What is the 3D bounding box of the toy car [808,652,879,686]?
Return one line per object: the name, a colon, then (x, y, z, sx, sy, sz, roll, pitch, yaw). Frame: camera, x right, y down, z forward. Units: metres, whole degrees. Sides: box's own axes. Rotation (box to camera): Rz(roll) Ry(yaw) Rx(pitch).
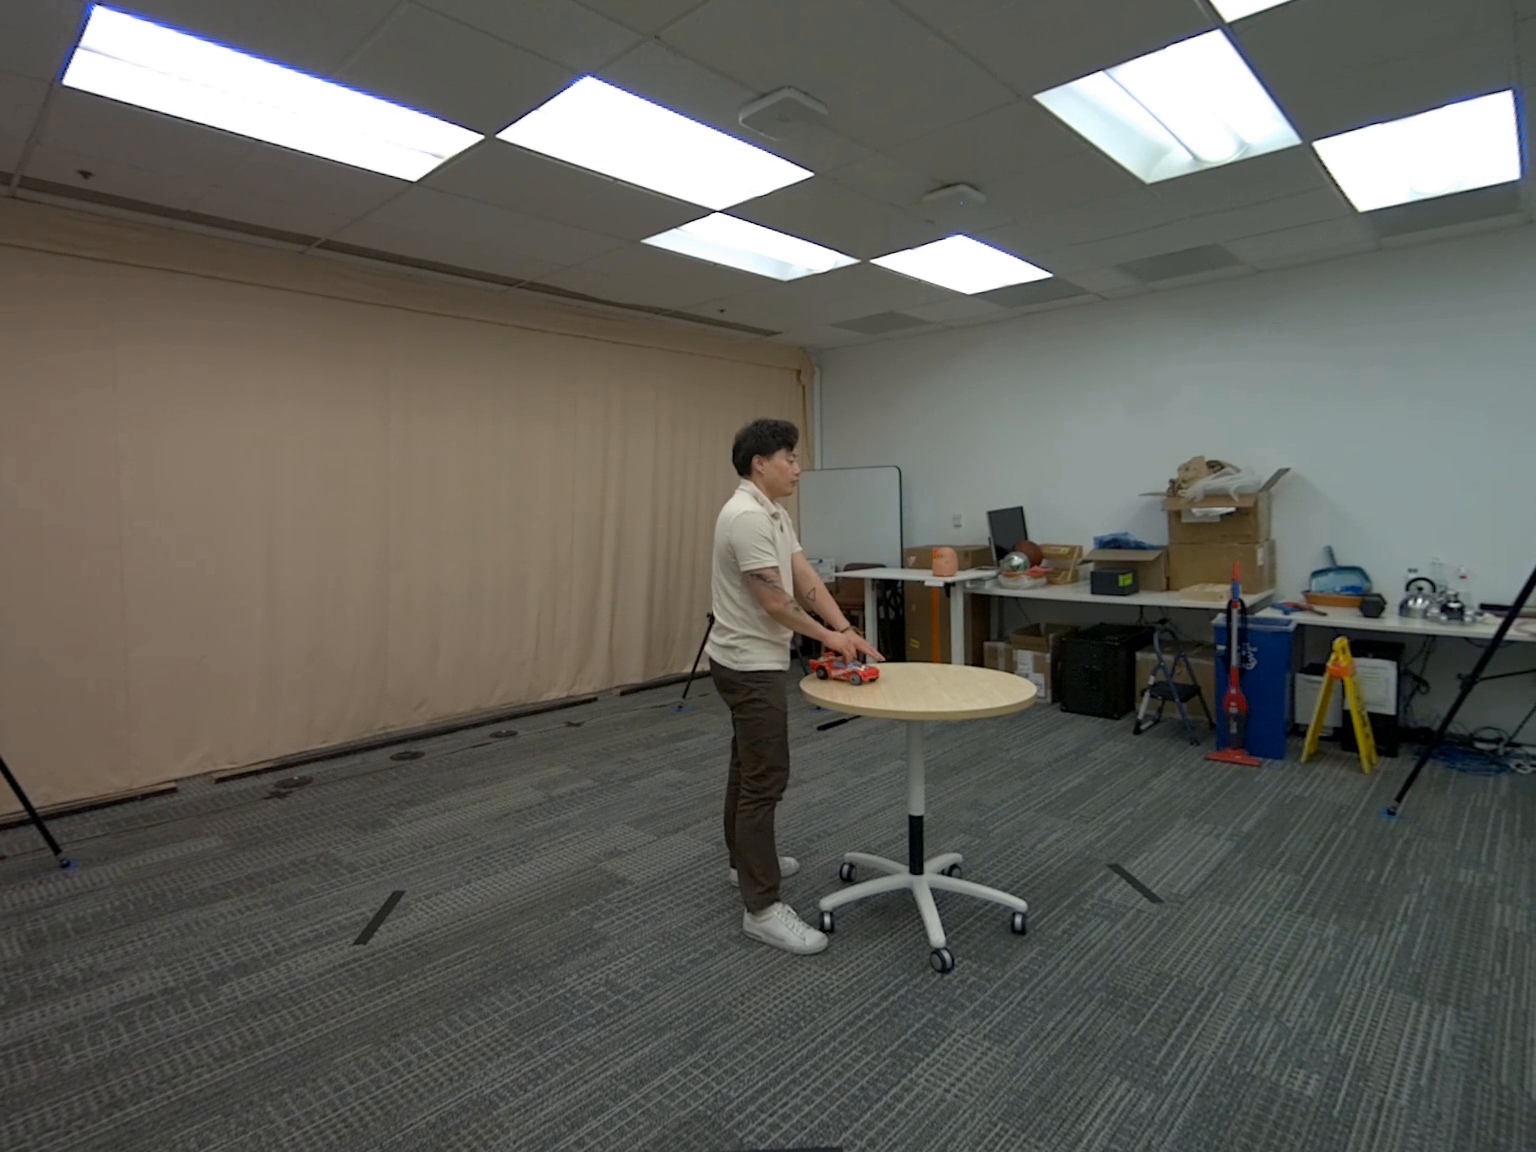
toy car: (0.263, 0.331, 2.901, 0.126, 0.083, 0.264, -5, 17, -45)
